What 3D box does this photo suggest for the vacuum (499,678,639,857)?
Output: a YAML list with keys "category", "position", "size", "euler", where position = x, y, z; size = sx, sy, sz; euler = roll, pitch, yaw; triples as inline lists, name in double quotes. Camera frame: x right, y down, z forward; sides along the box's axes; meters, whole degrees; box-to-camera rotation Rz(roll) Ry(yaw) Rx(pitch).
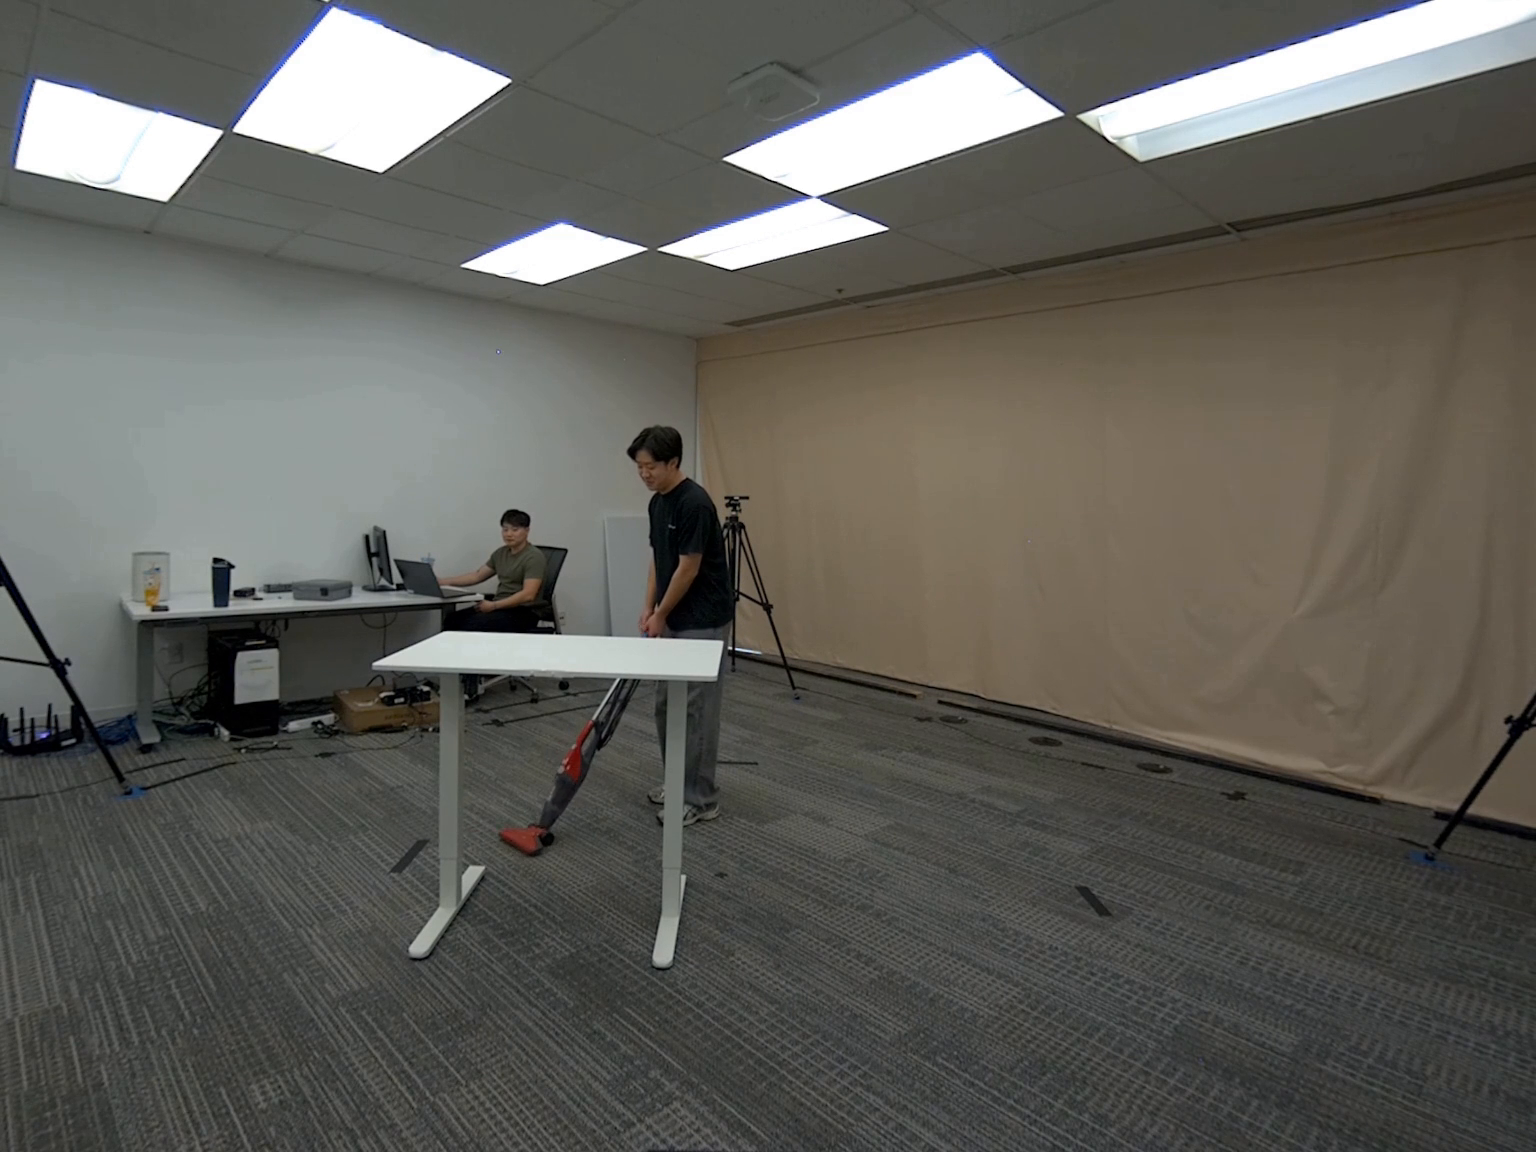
- category: "vacuum"
  position: [-0.728, 0.642, 3.539]
  size: [0.259, 1.055, 0.139]
  euler: [6, -34, 40]
